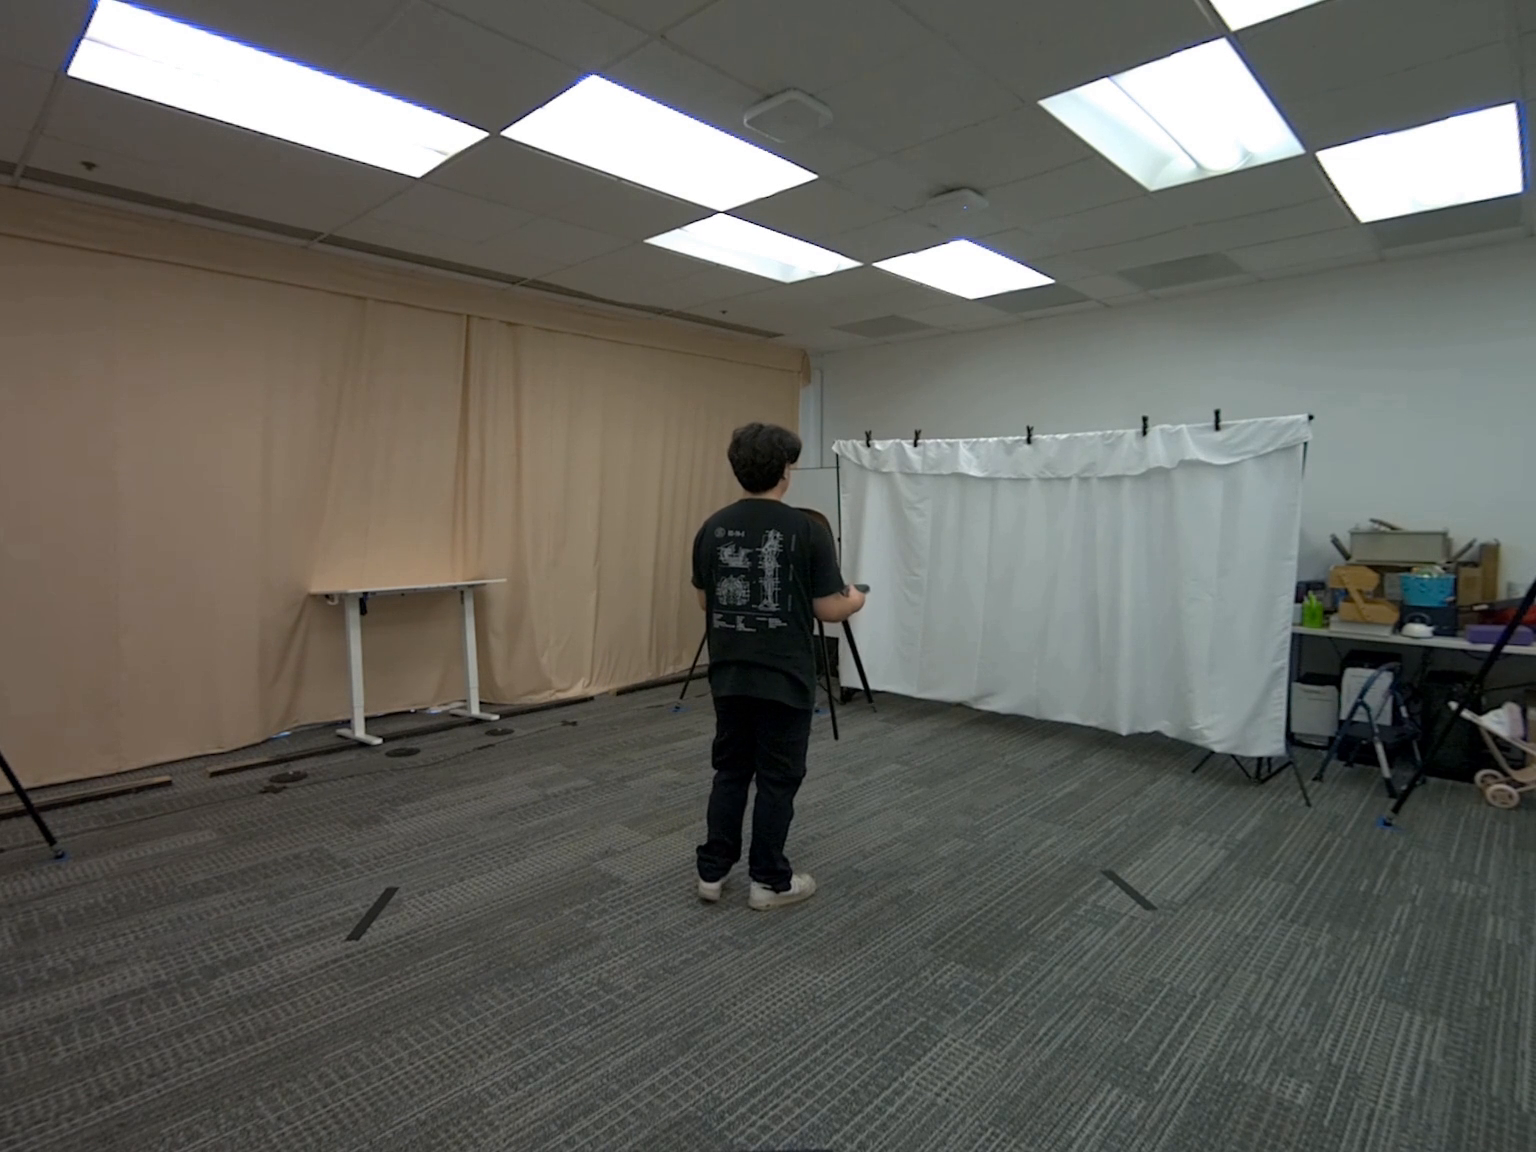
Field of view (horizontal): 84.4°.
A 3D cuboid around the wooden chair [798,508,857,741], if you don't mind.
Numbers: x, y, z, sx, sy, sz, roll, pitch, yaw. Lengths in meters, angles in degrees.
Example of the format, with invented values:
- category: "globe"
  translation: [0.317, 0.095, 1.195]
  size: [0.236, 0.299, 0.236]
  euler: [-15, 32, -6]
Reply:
- category: "wooden chair"
  translation: [0.127, 0.124, 3.242]
  size: [0.491, 0.870, 0.514]
  euler: [2, 12, 26]
